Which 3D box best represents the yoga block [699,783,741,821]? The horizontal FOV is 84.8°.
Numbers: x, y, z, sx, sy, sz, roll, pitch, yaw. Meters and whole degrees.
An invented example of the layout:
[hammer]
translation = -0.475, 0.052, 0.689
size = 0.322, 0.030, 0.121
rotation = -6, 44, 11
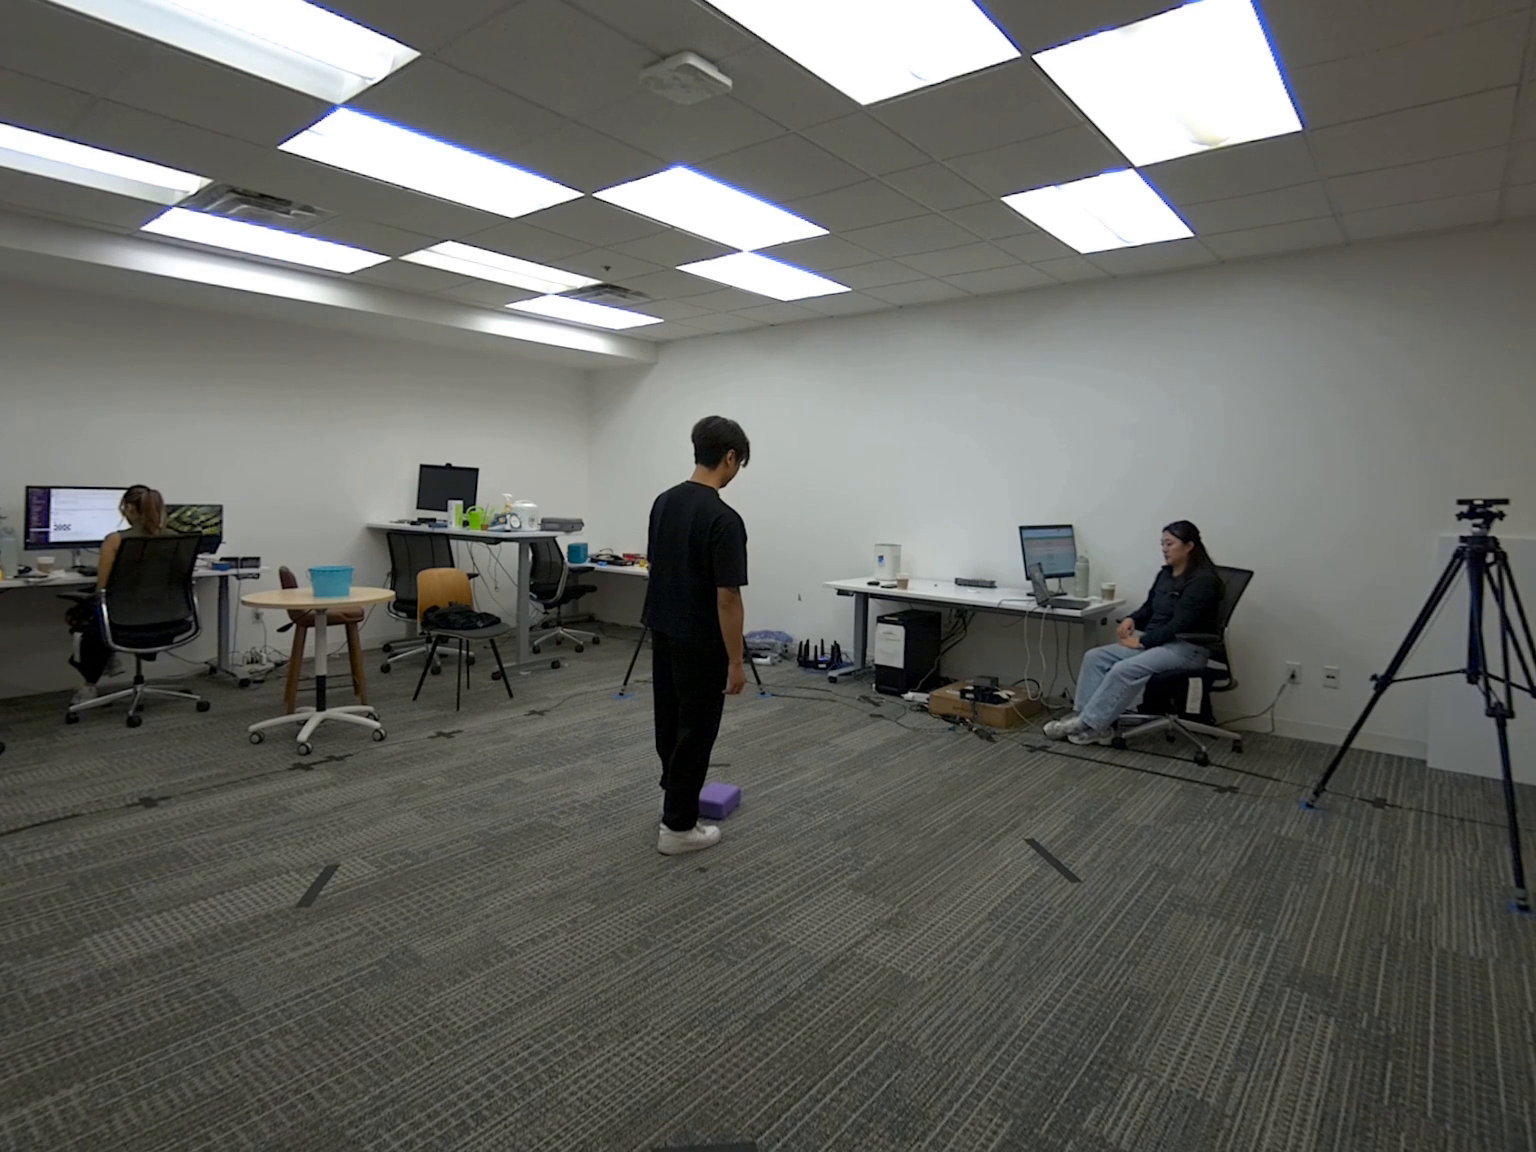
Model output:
[yoga block]
translation = -0.232, 0.970, 3.691
size = 0.152, 0.076, 0.225
rotation = 3, 5, 19
